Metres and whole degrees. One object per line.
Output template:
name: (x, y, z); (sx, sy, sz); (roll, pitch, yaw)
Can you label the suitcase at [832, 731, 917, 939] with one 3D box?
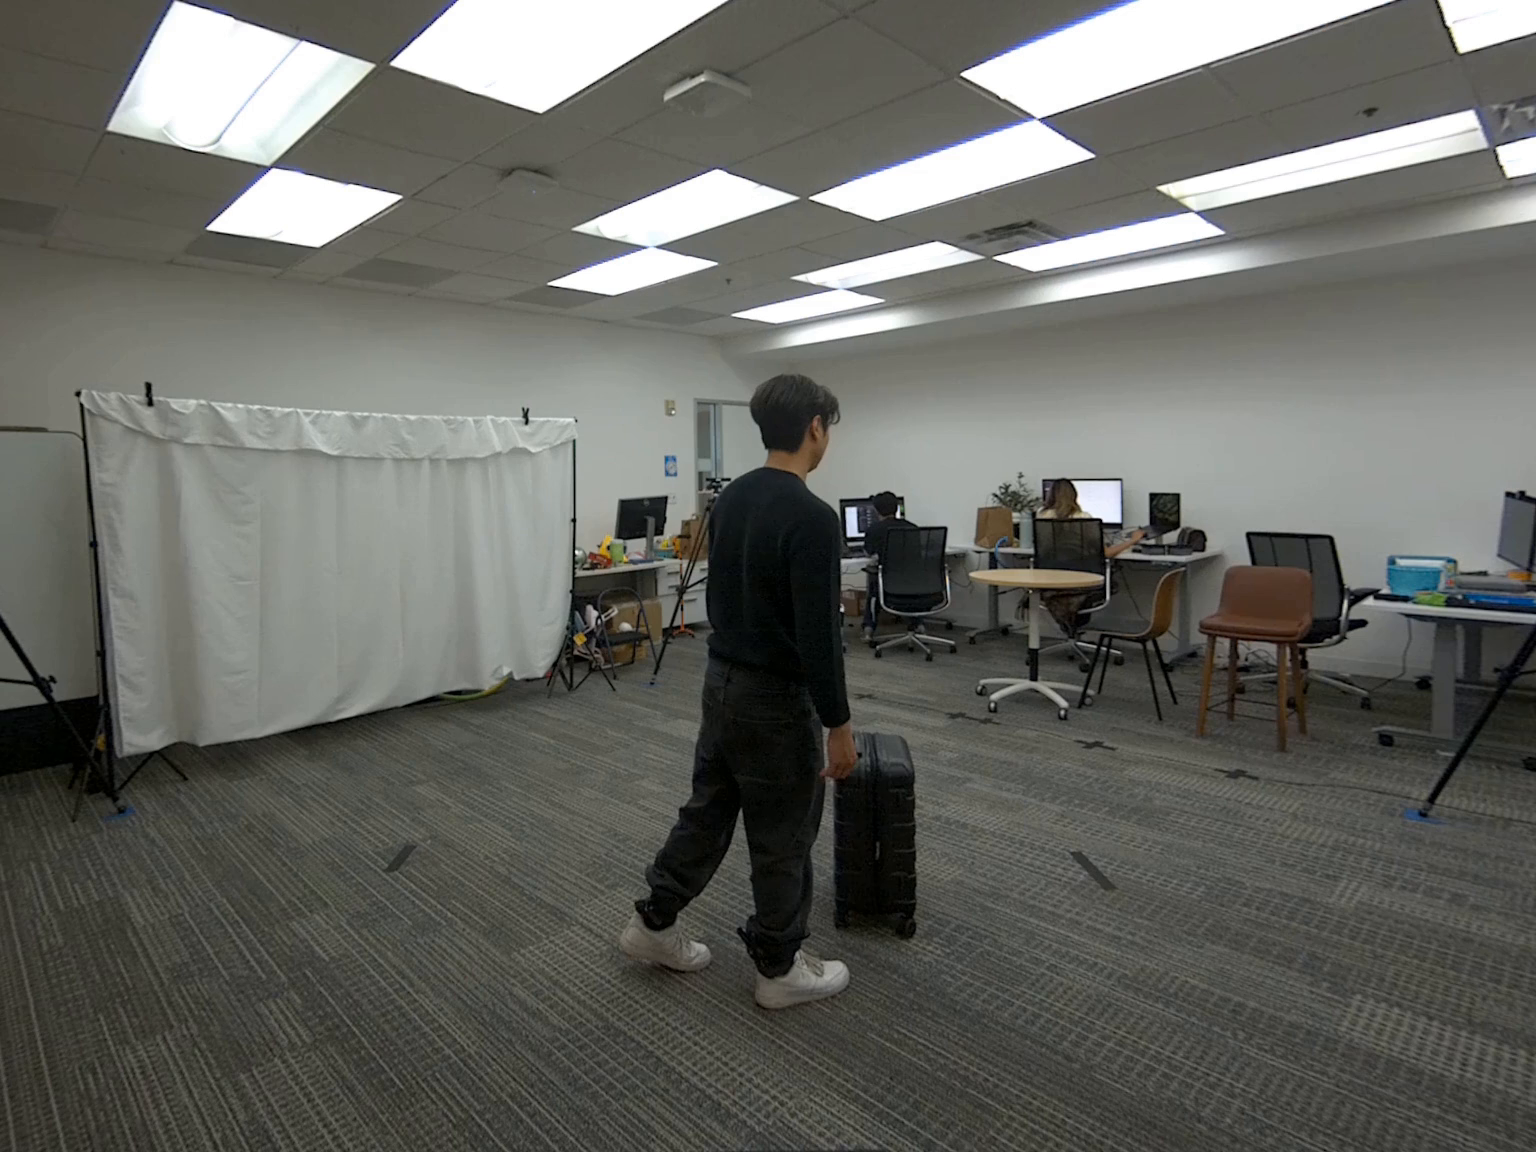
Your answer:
suitcase: (0.346, 0.598, 2.734); (0.258, 0.974, 0.384); (1, 5, 5)
